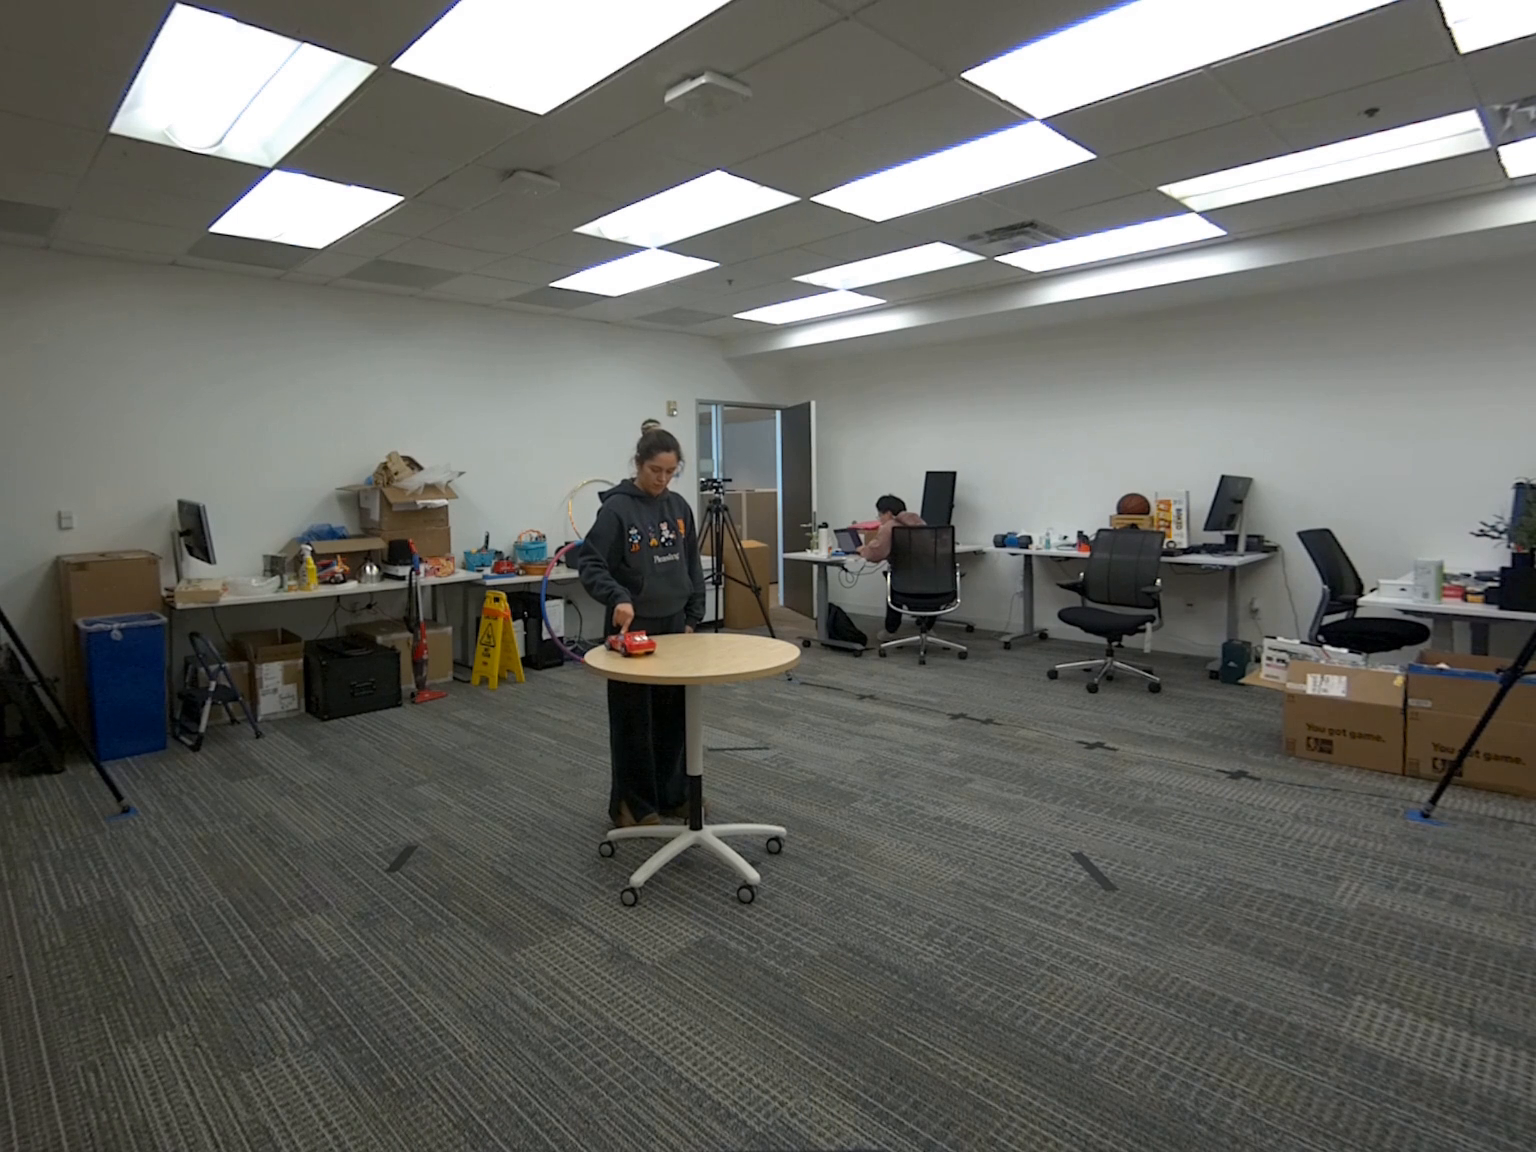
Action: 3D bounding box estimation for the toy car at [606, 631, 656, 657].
[{"bbox_3d":[-0.489,0.248,3.038,0.127,0.084,0.259,-4,-5,-30],"label":"toy car"}]
